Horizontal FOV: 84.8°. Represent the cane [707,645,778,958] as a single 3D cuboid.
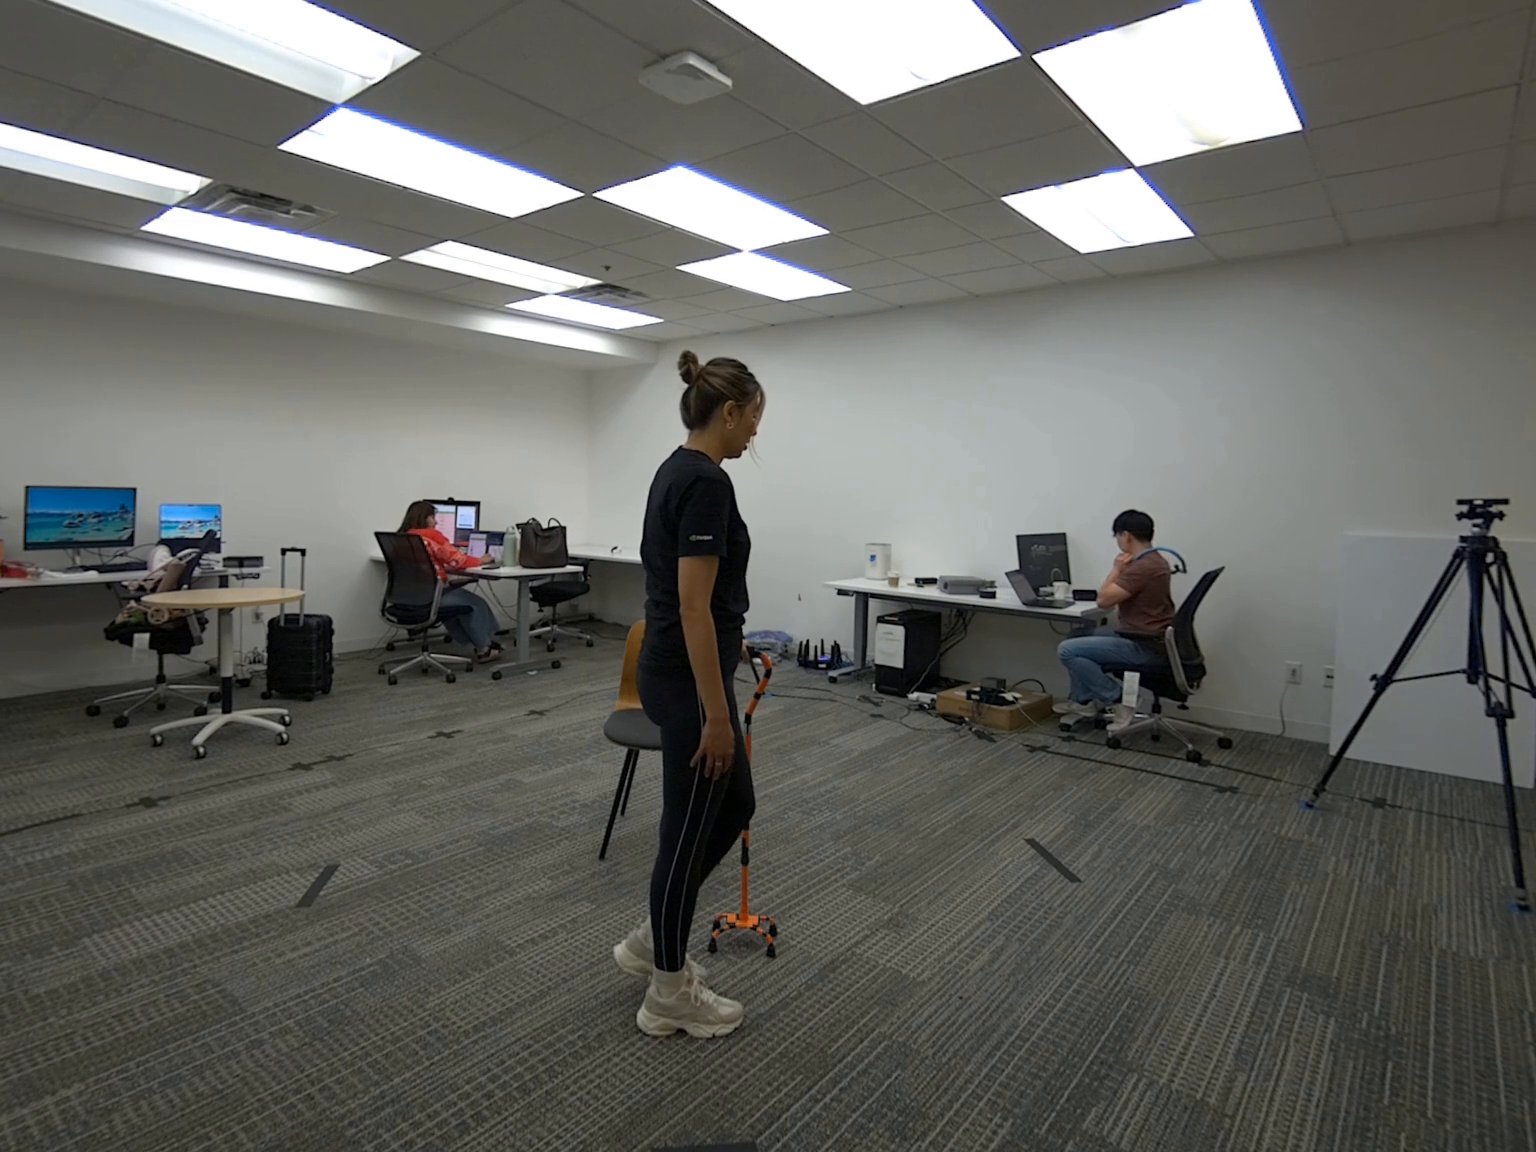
[{"bbox_3d":[-0.067,0.668,2.591,0.207,0.906,0.151,2,2,1],"label":"cane"}]
